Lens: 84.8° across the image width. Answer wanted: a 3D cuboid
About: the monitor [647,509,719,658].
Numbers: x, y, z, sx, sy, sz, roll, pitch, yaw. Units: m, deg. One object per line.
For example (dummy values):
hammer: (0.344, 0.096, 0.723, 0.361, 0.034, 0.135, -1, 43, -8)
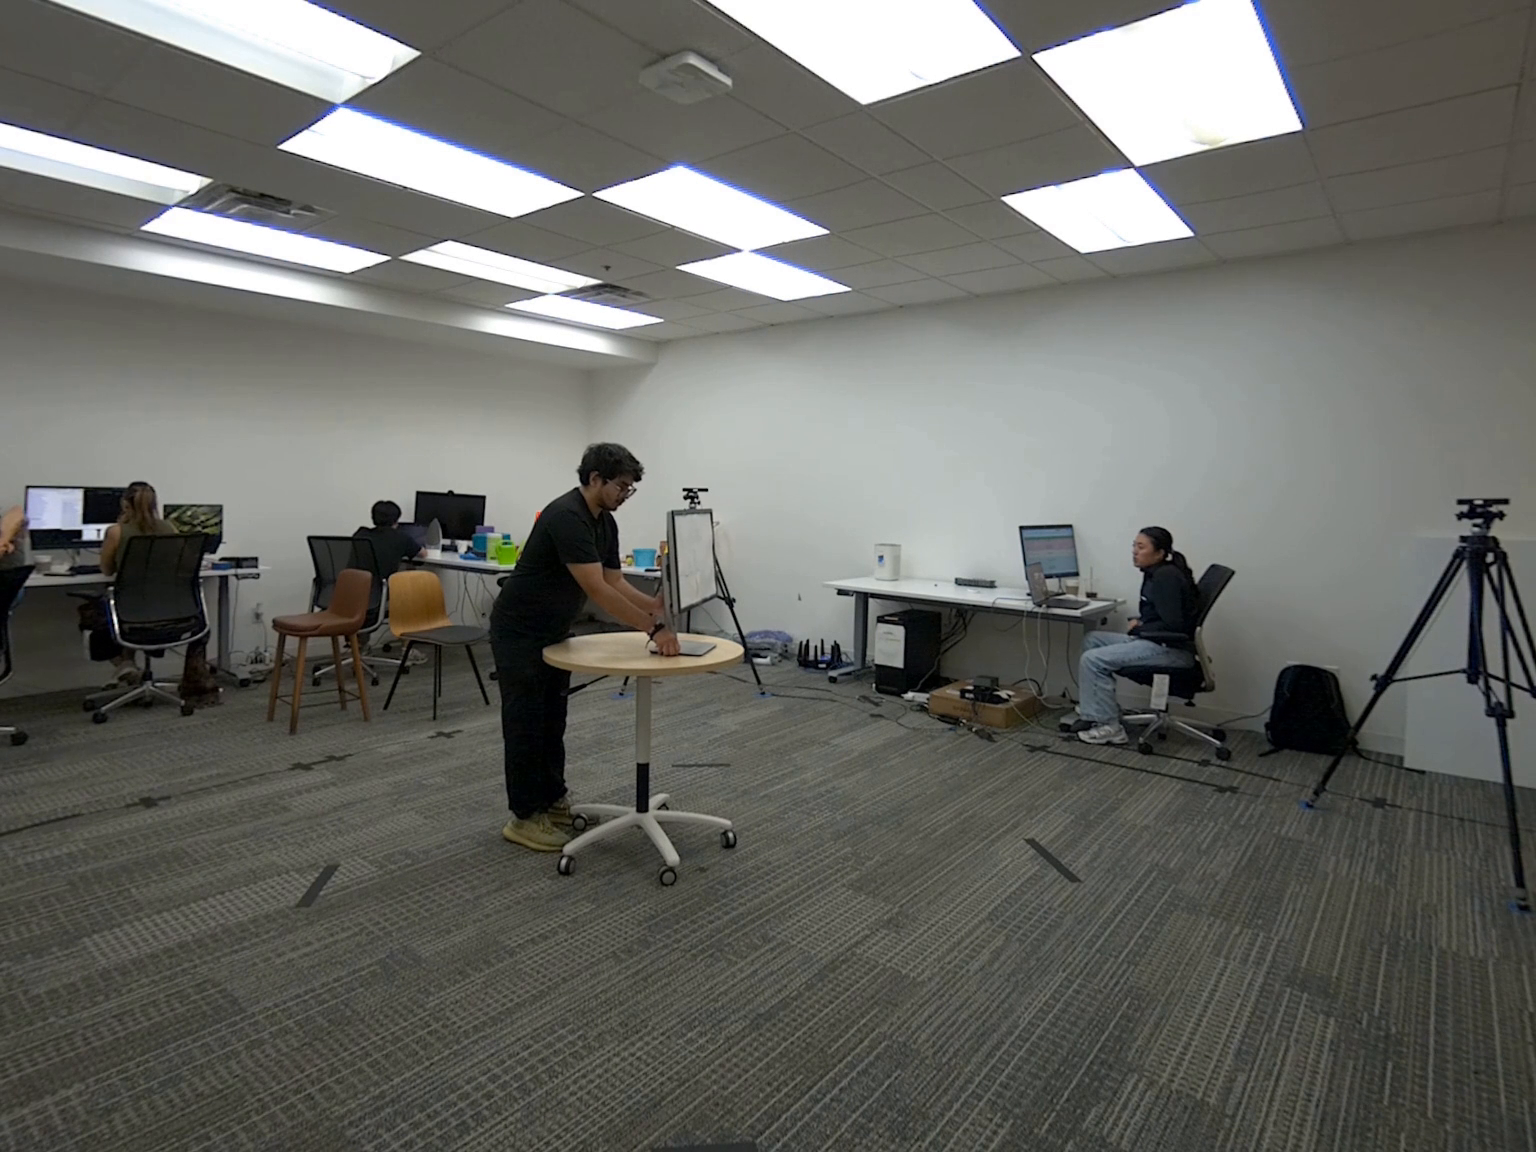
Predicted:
monitor: (-0.350, 0.017, 3.232, 0.213, 0.553, 0.559, 0, 3, 12)
